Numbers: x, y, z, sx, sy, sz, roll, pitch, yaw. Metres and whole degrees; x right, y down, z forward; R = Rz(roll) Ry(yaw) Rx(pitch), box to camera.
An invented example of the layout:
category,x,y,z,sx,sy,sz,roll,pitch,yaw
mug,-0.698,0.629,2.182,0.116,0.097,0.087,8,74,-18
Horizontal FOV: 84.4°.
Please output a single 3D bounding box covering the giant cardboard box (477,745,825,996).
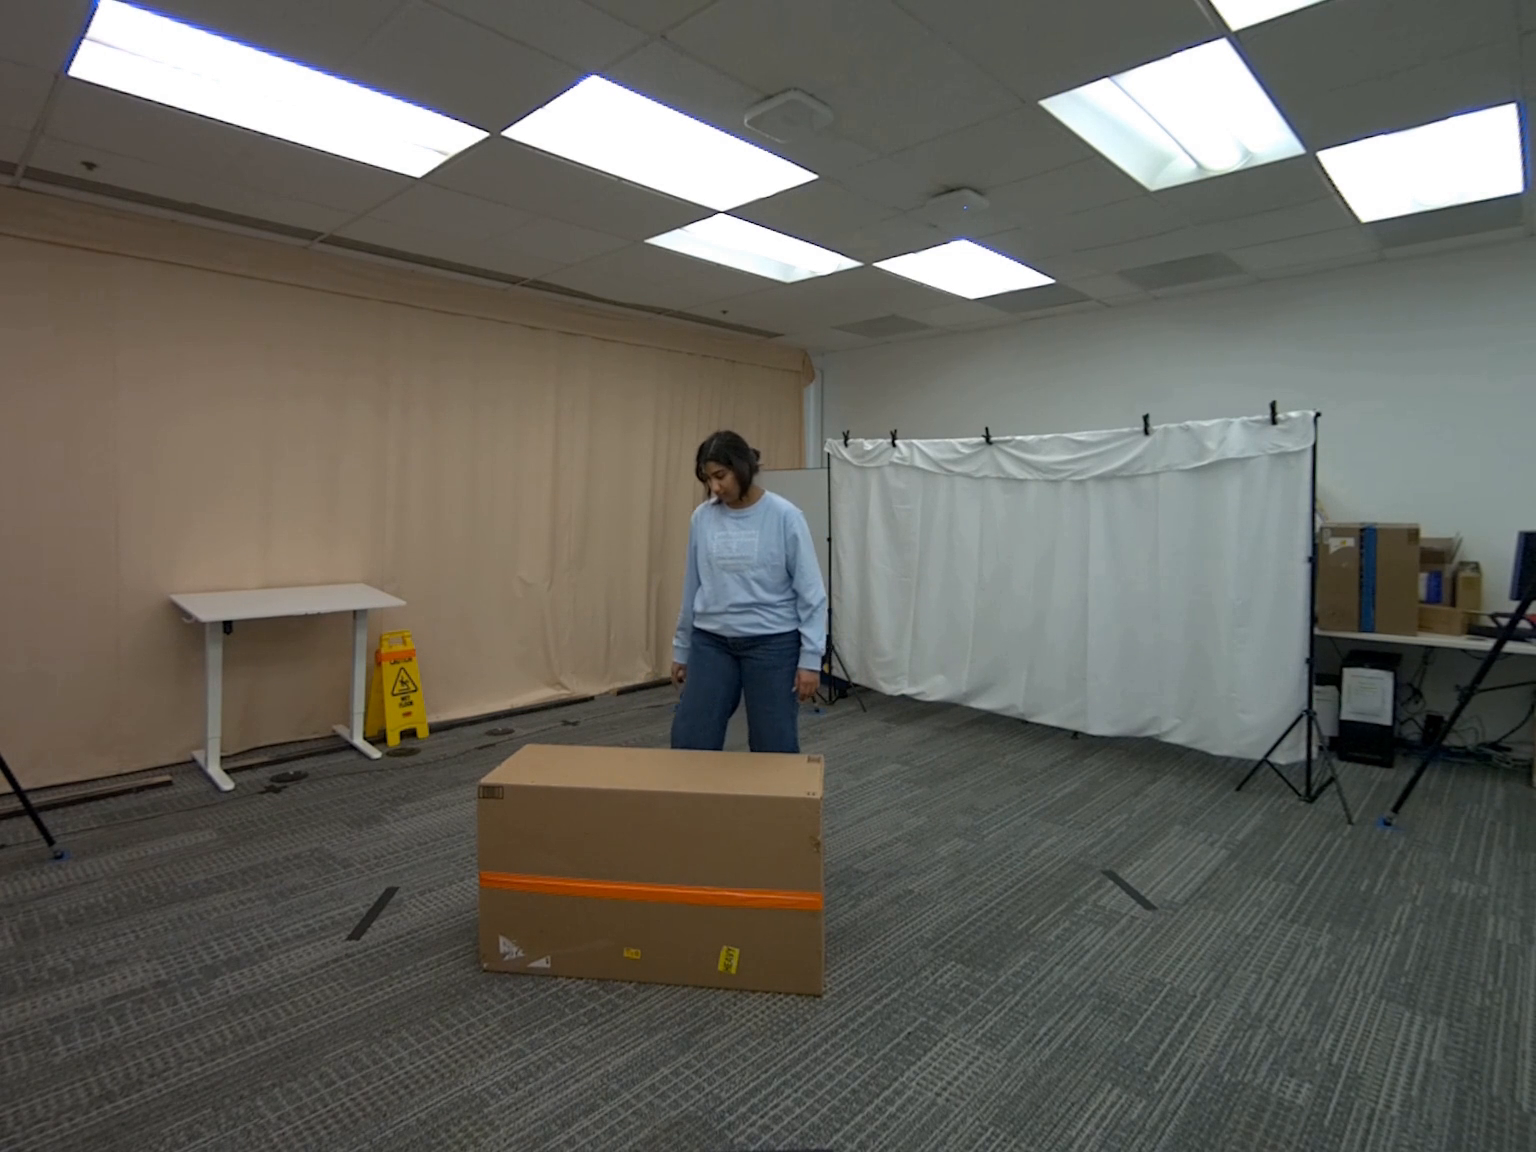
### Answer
category,x,y,z,sx,sy,sz,roll,pitch,yaw
giant cardboard box,-0.342,0.882,2.644,1.035,0.576,0.423,1,4,8
